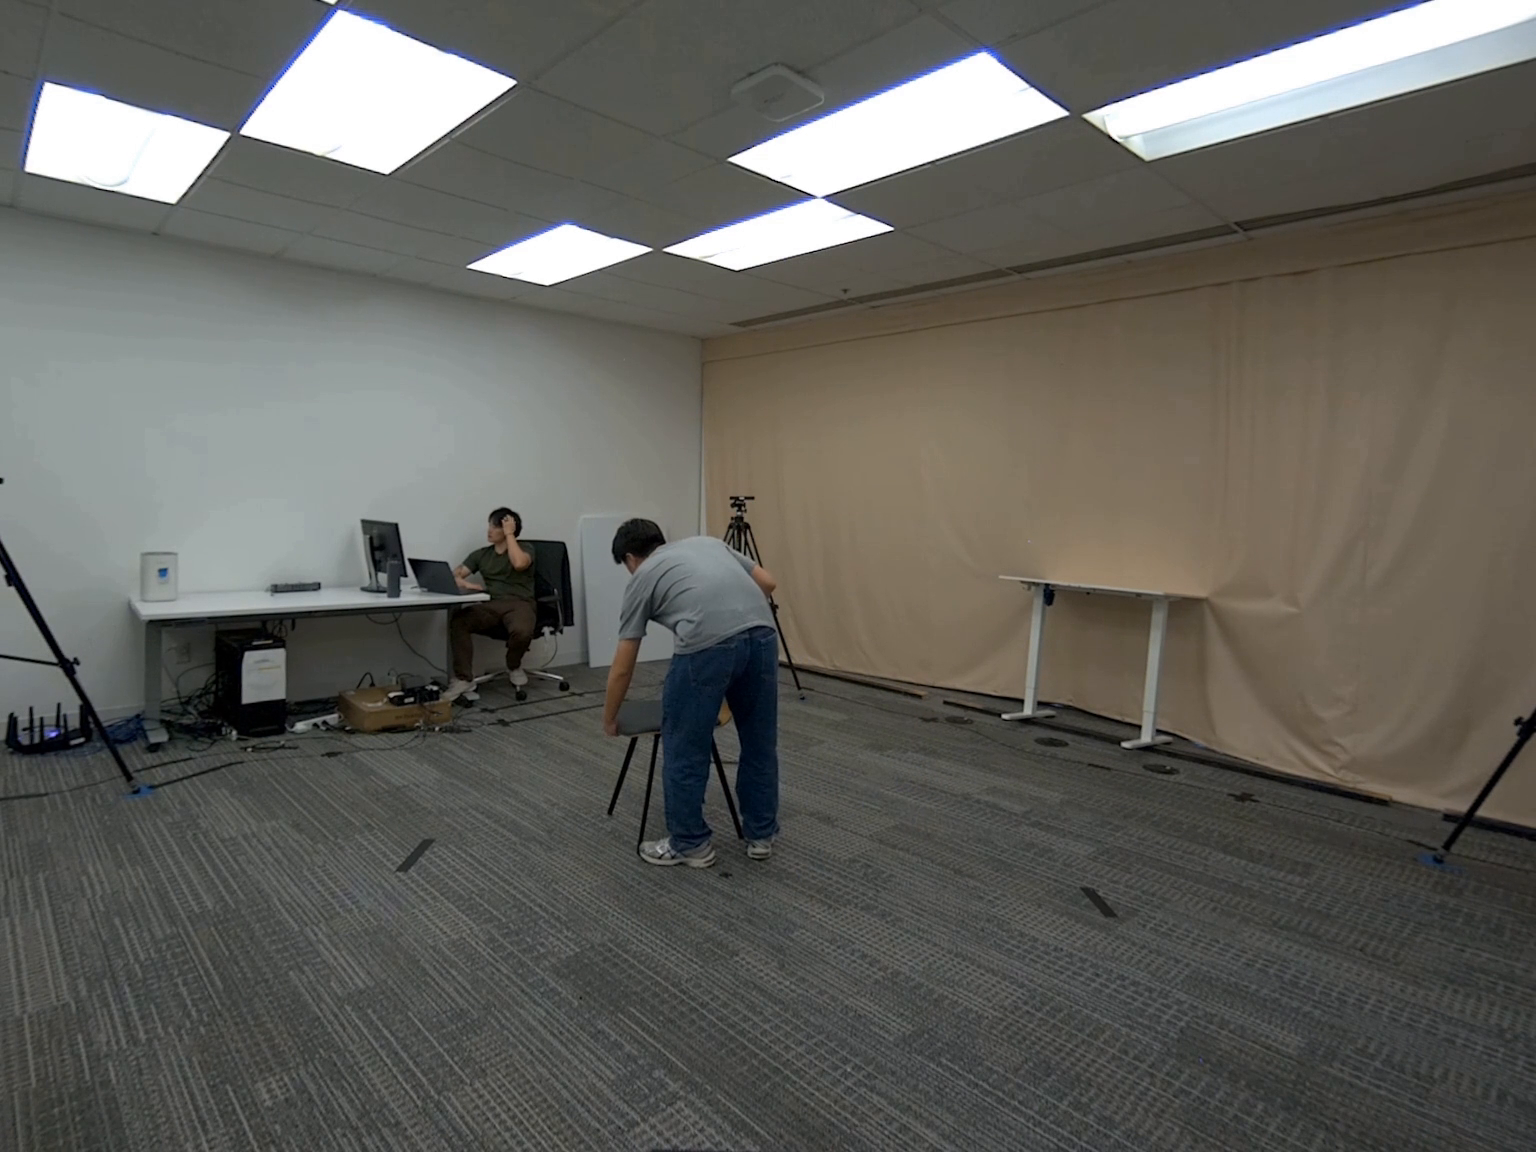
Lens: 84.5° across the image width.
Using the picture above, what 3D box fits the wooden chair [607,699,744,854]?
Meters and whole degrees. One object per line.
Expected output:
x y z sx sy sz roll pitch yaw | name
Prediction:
-0.398 0.633 3.530 0.513 0.876 0.488 5 2 -24 | wooden chair
